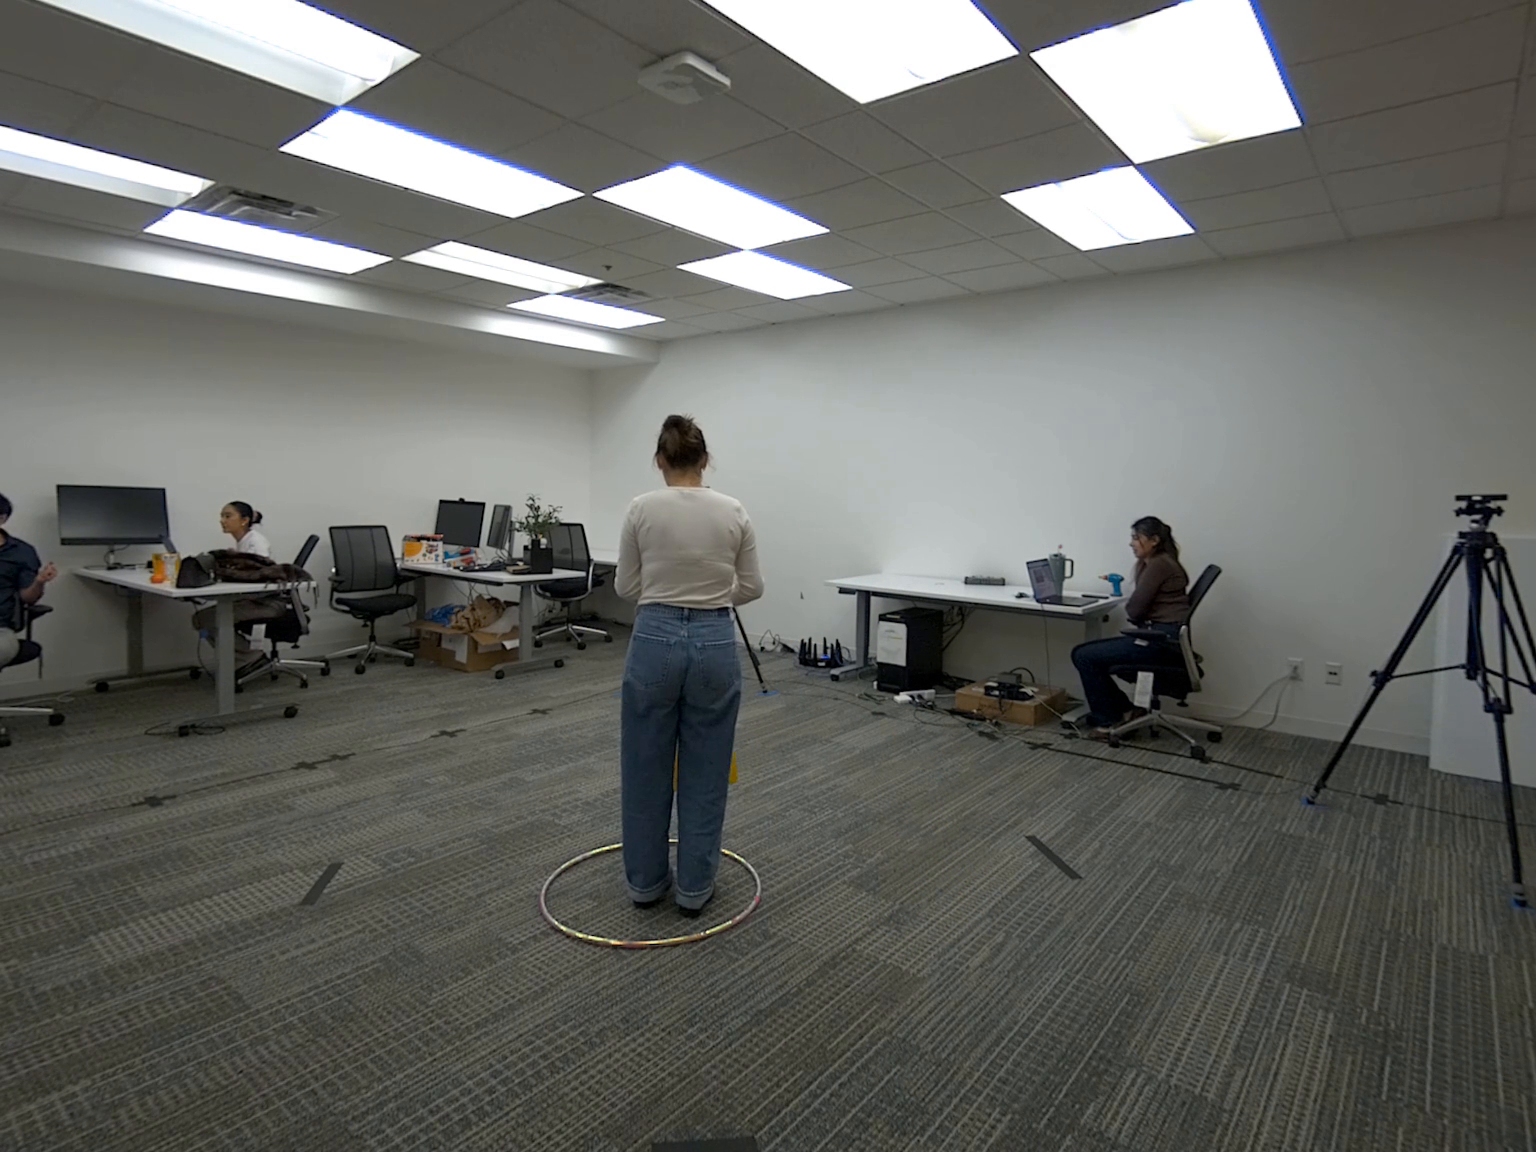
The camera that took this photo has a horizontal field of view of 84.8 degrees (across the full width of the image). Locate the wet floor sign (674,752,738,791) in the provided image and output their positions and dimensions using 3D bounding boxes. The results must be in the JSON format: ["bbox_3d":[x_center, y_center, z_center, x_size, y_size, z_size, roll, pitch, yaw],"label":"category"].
[{"bbox_3d":[-0.292,0.404,3.122,0.278,0.635,0.299,-3,19,-15],"label":"wet floor sign"}]
